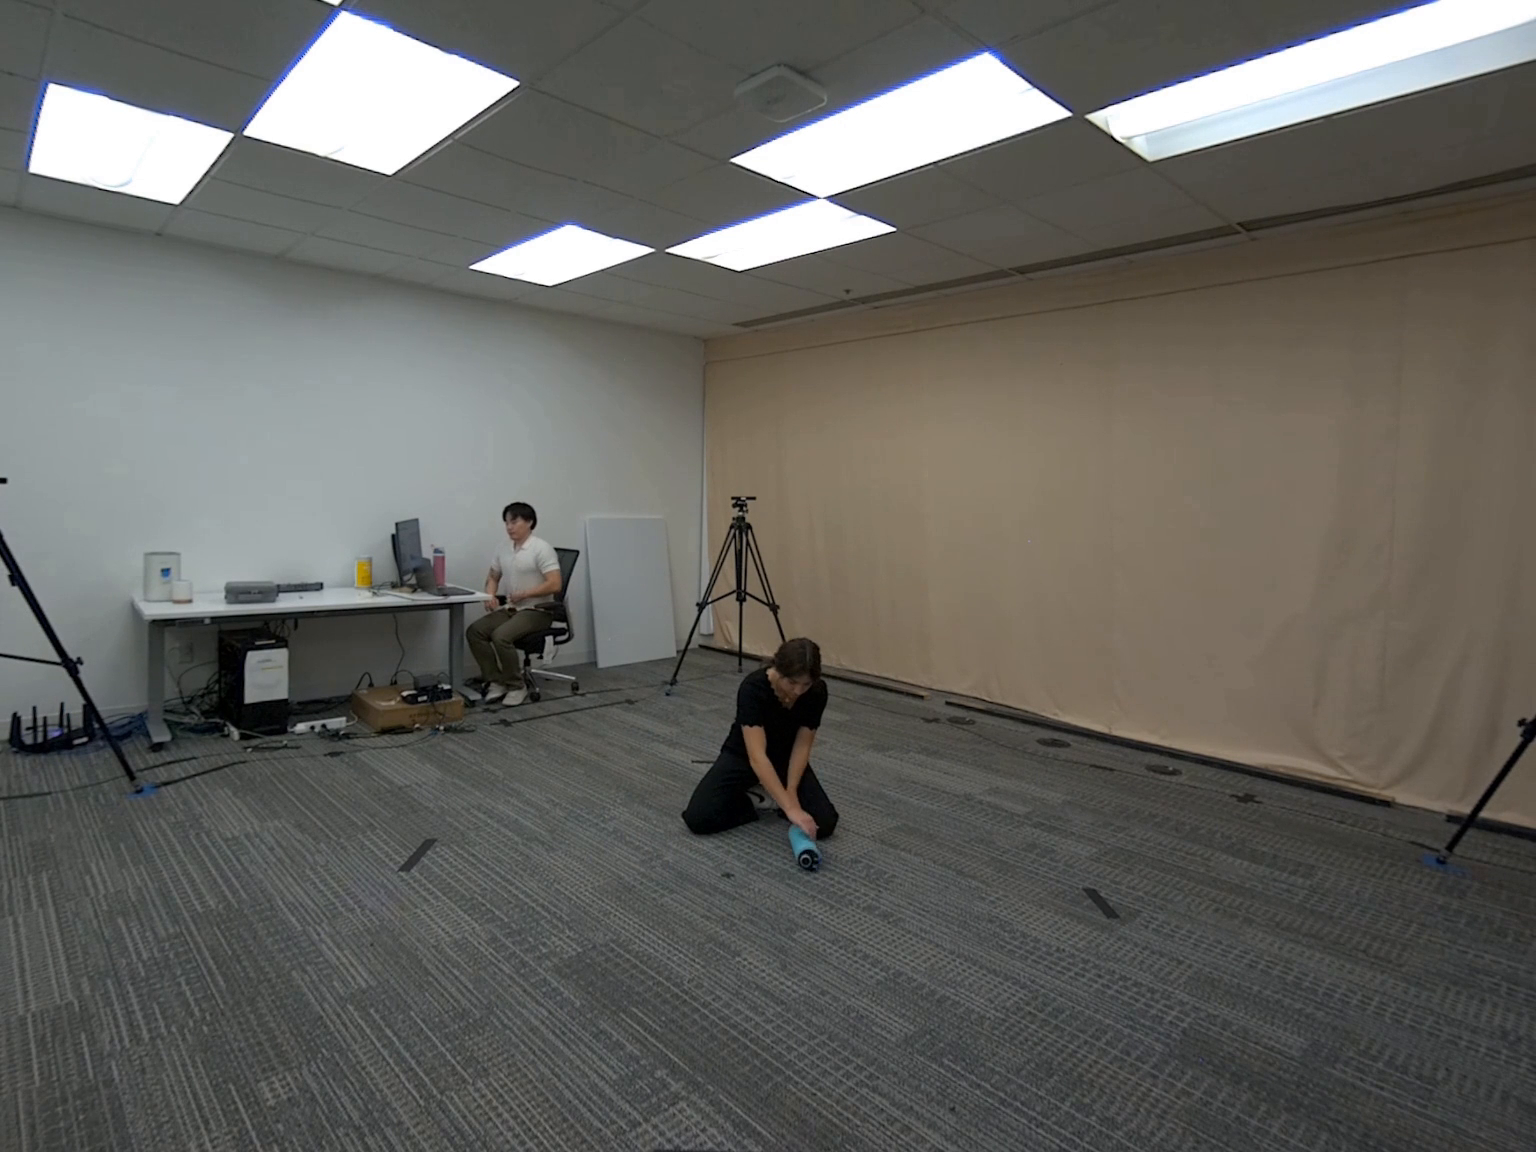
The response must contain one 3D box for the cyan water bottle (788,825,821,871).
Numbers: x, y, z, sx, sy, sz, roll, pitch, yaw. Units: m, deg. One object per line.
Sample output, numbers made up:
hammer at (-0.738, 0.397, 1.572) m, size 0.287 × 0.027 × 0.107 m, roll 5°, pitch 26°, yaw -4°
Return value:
cyan water bottle at (0.121, 1.051, 3.267) m, size 0.092 × 0.092 × 0.285 m, roll 1°, pitch 4°, yaw -6°
